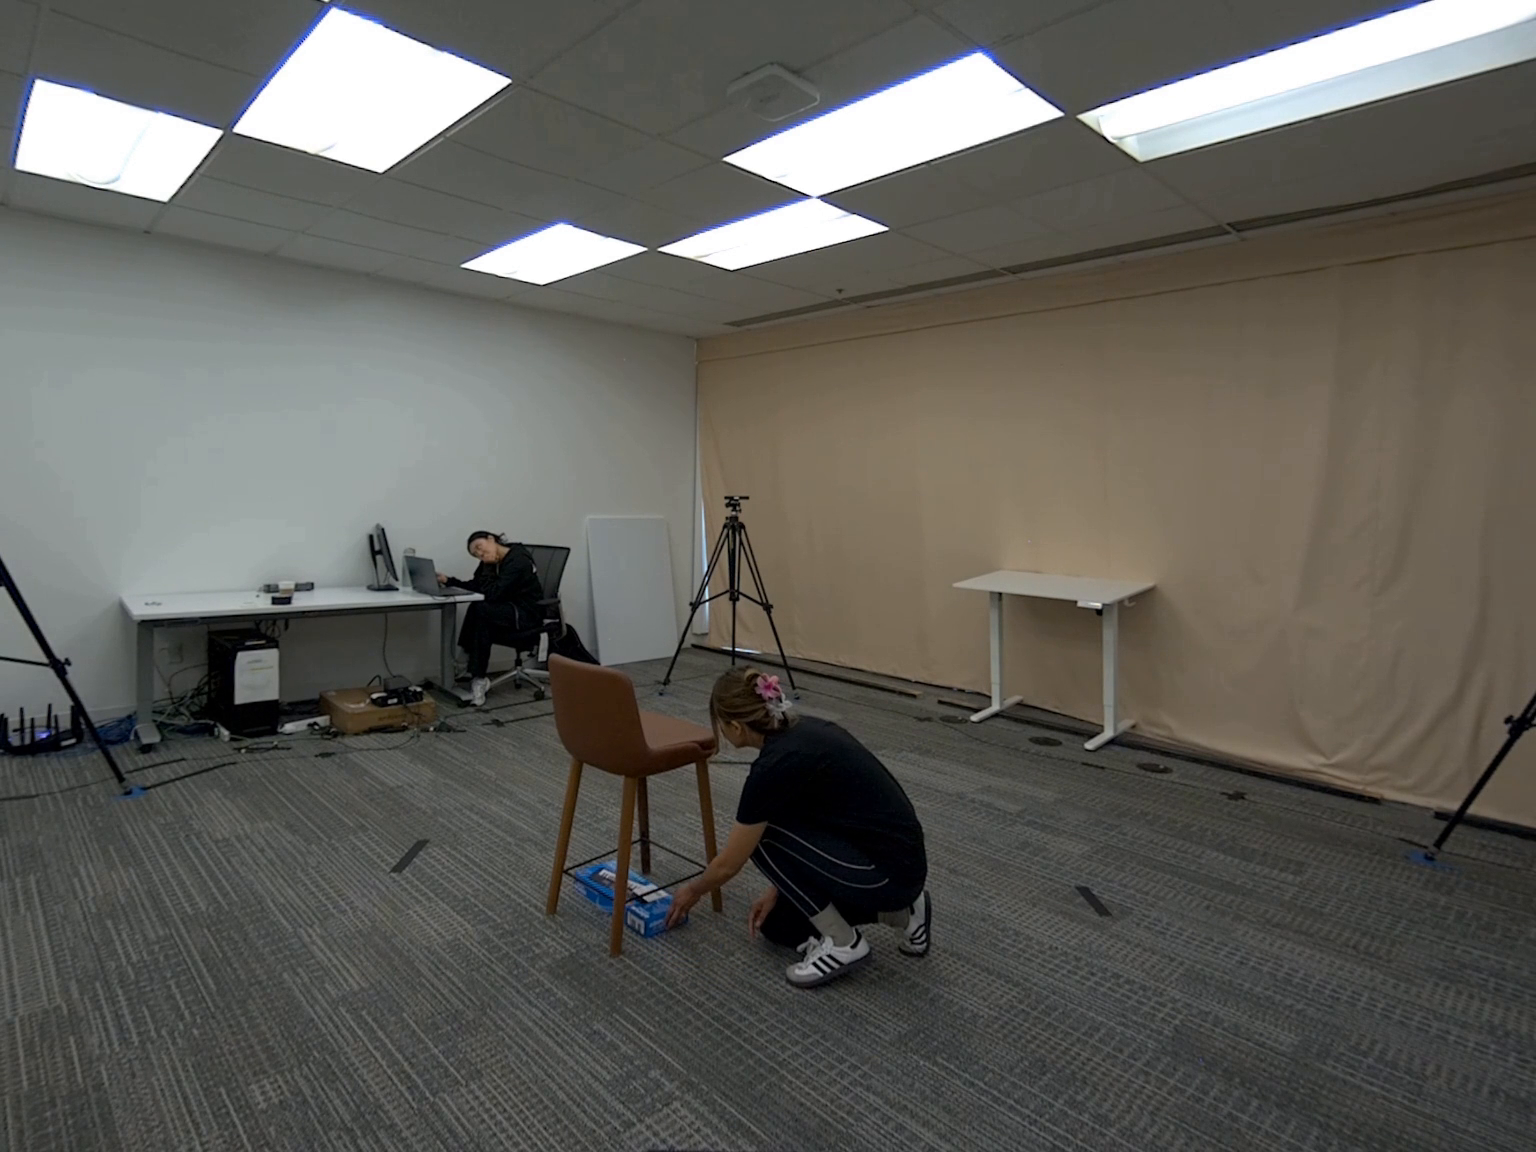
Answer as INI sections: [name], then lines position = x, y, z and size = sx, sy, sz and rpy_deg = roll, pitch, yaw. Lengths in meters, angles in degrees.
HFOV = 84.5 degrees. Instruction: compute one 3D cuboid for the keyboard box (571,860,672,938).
[keyboard box]
position = -0.473, 1.084, 2.863
size = 0.172, 0.059, 0.448
rpy_deg = -3, 7, -43
